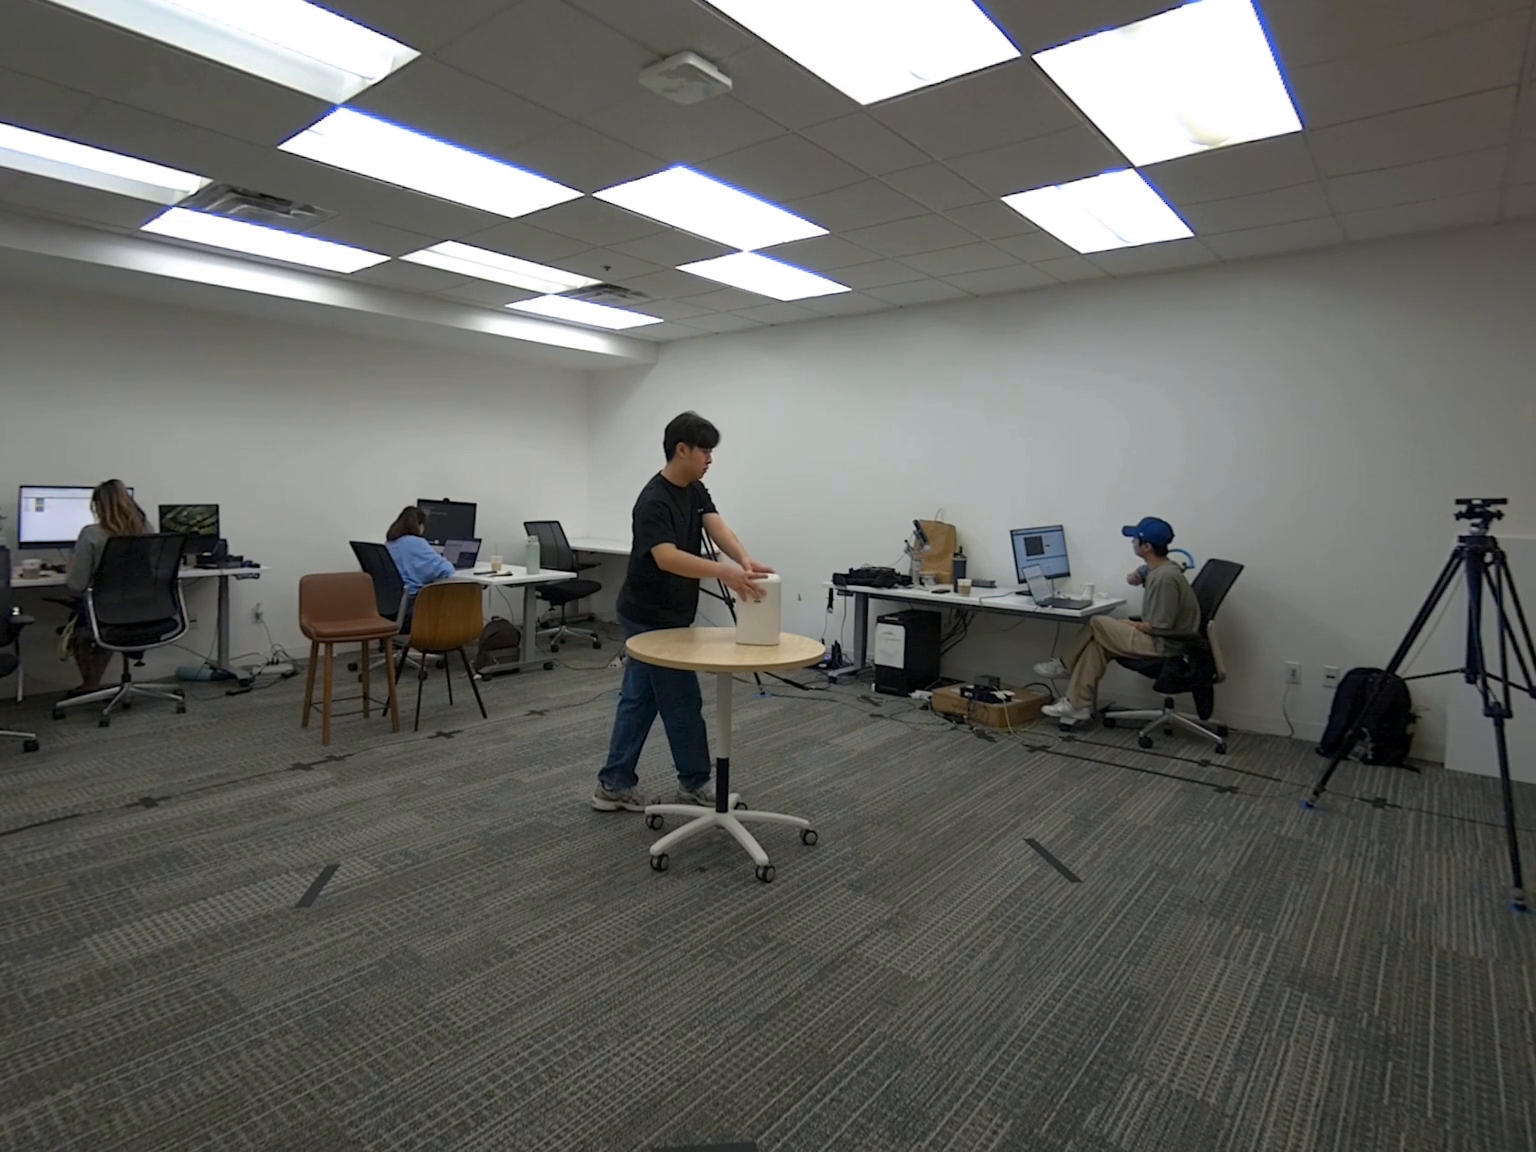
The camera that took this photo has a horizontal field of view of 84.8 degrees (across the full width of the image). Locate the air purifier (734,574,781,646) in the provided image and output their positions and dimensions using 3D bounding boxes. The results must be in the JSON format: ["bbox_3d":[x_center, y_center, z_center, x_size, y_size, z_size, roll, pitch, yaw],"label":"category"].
[{"bbox_3d":[-0.046,0.124,3.332,0.172,0.265,0.171,1,3,4],"label":"air purifier"}]
